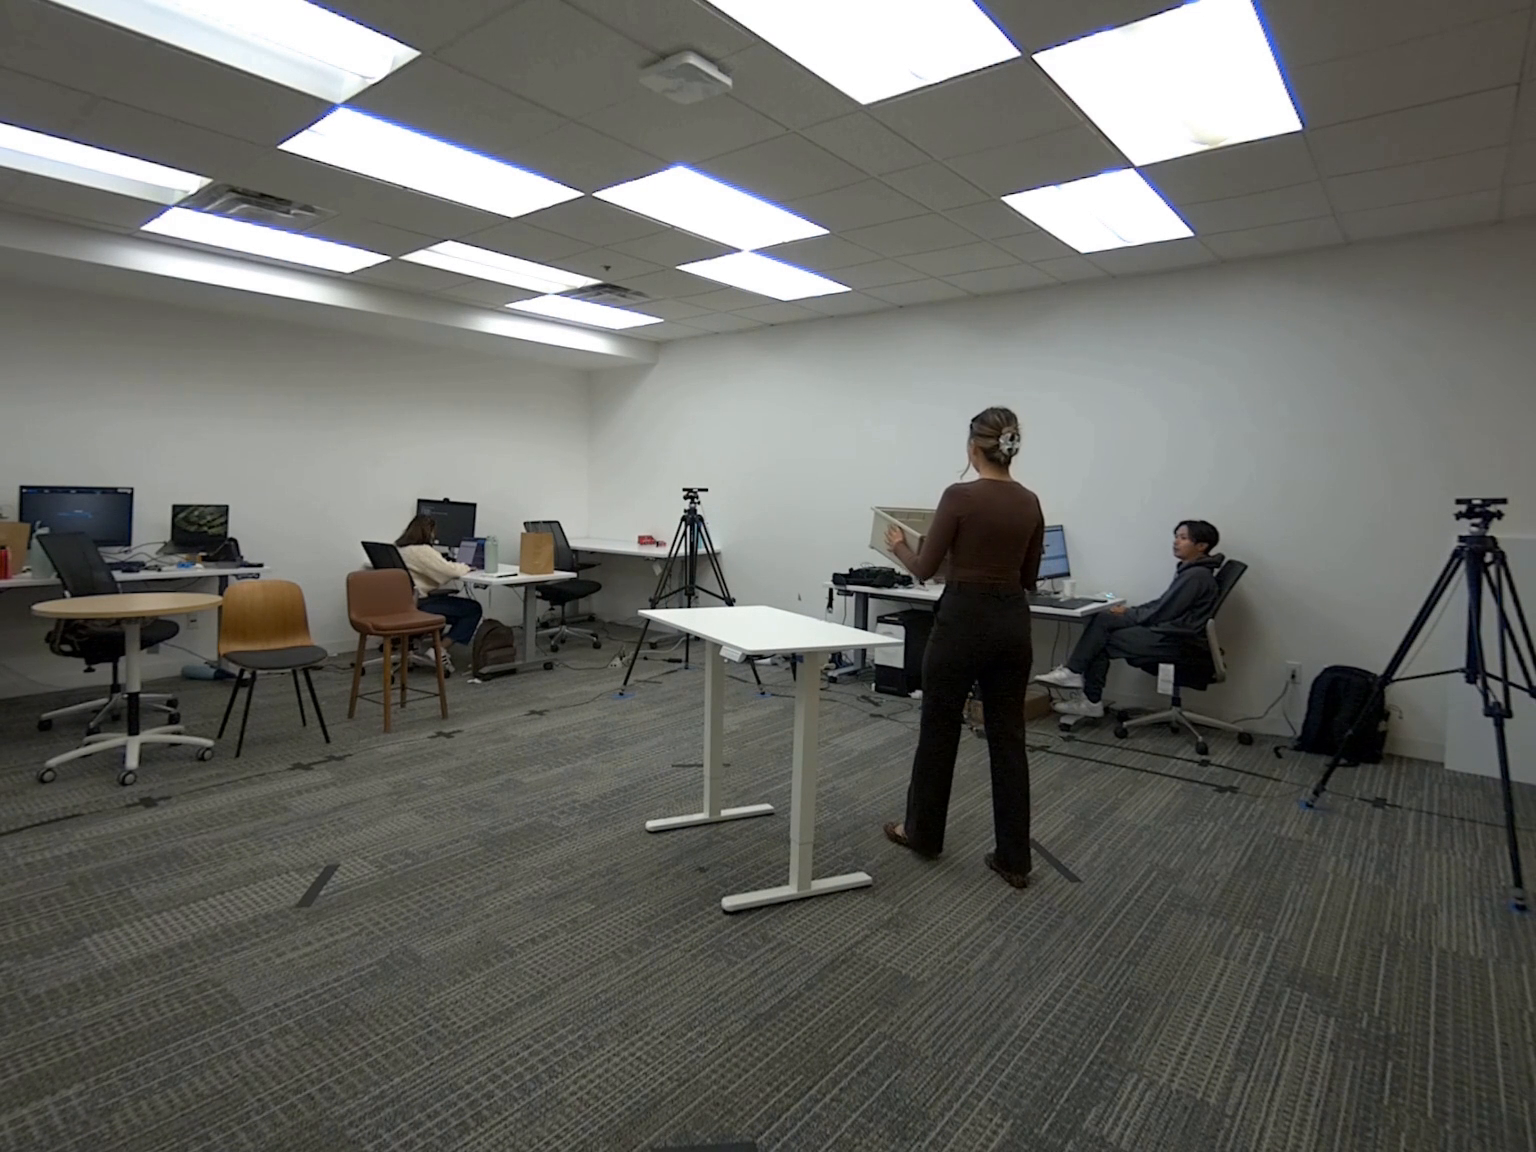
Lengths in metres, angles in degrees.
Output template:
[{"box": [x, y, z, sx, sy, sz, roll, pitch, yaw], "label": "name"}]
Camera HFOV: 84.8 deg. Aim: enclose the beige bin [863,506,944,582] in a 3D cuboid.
[{"box": [0.670, -0.141, 3.508, 0.371, 0.186, 0.436, 0, 19, -17], "label": "beige bin"}]
